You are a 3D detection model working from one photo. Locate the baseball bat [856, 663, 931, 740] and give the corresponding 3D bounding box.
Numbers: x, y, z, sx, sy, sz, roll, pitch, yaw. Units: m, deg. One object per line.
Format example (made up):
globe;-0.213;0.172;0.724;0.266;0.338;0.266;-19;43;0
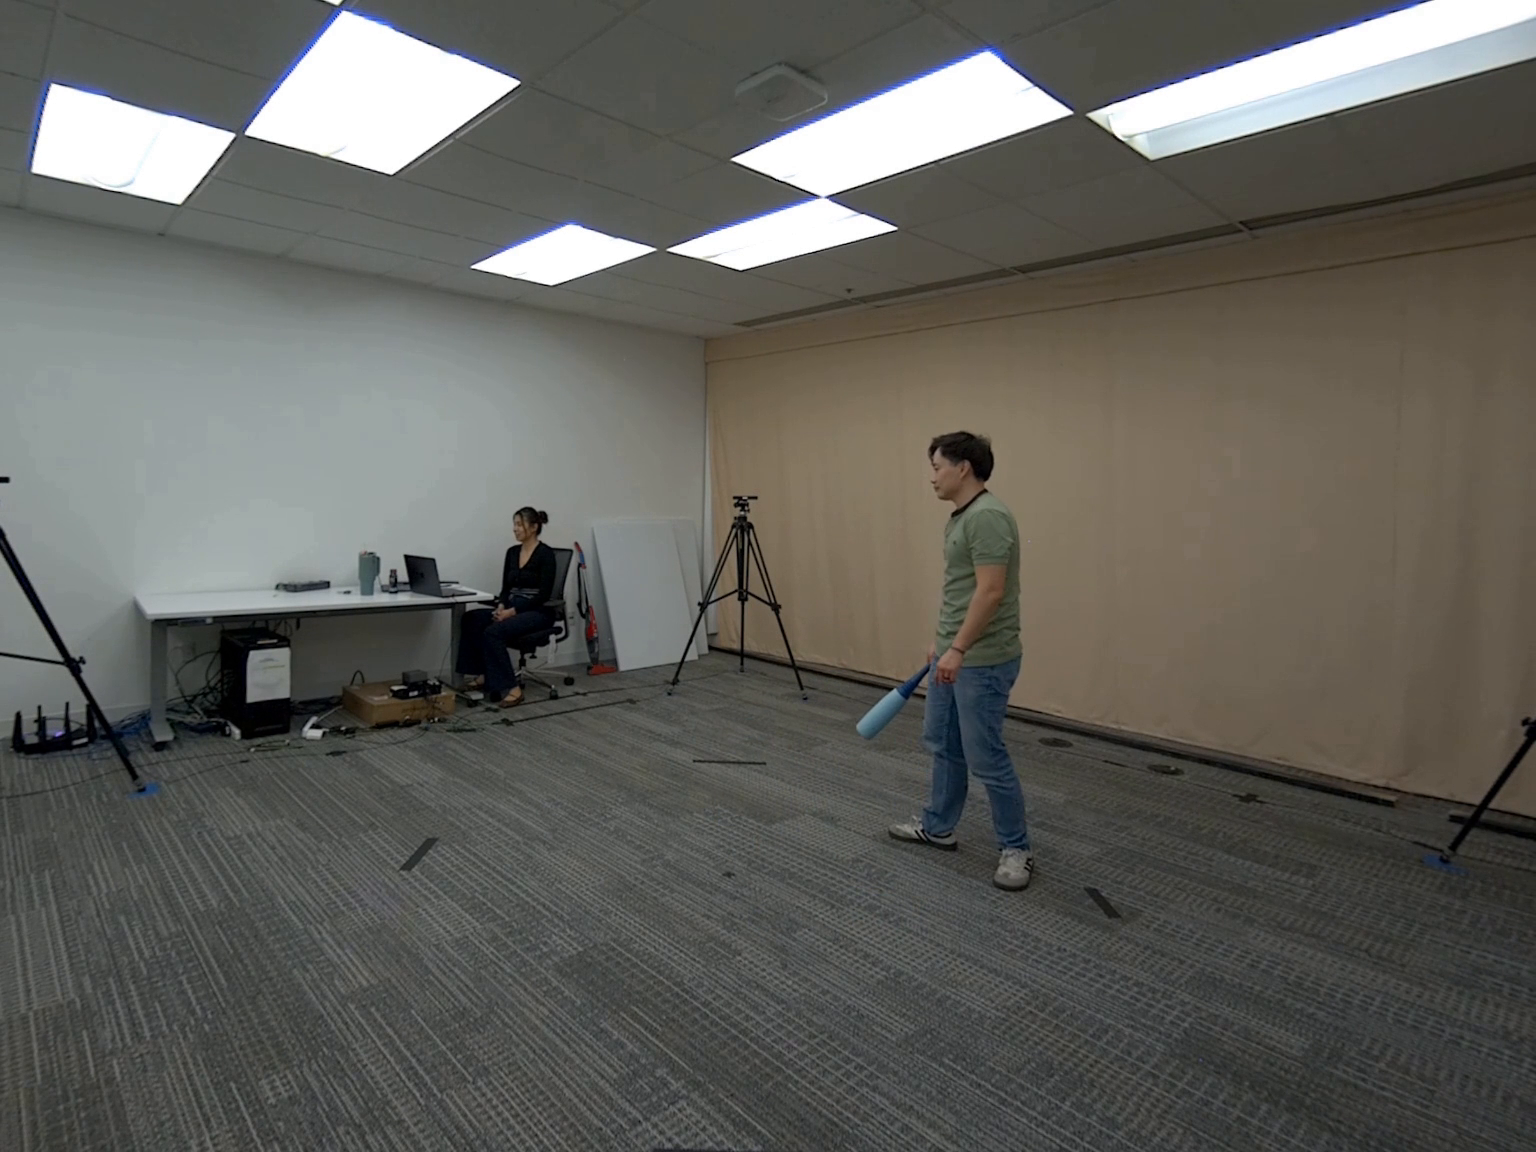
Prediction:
baseball bat;0.564;0.483;3.528;0.088;0.543;0.090;39;15;-14
